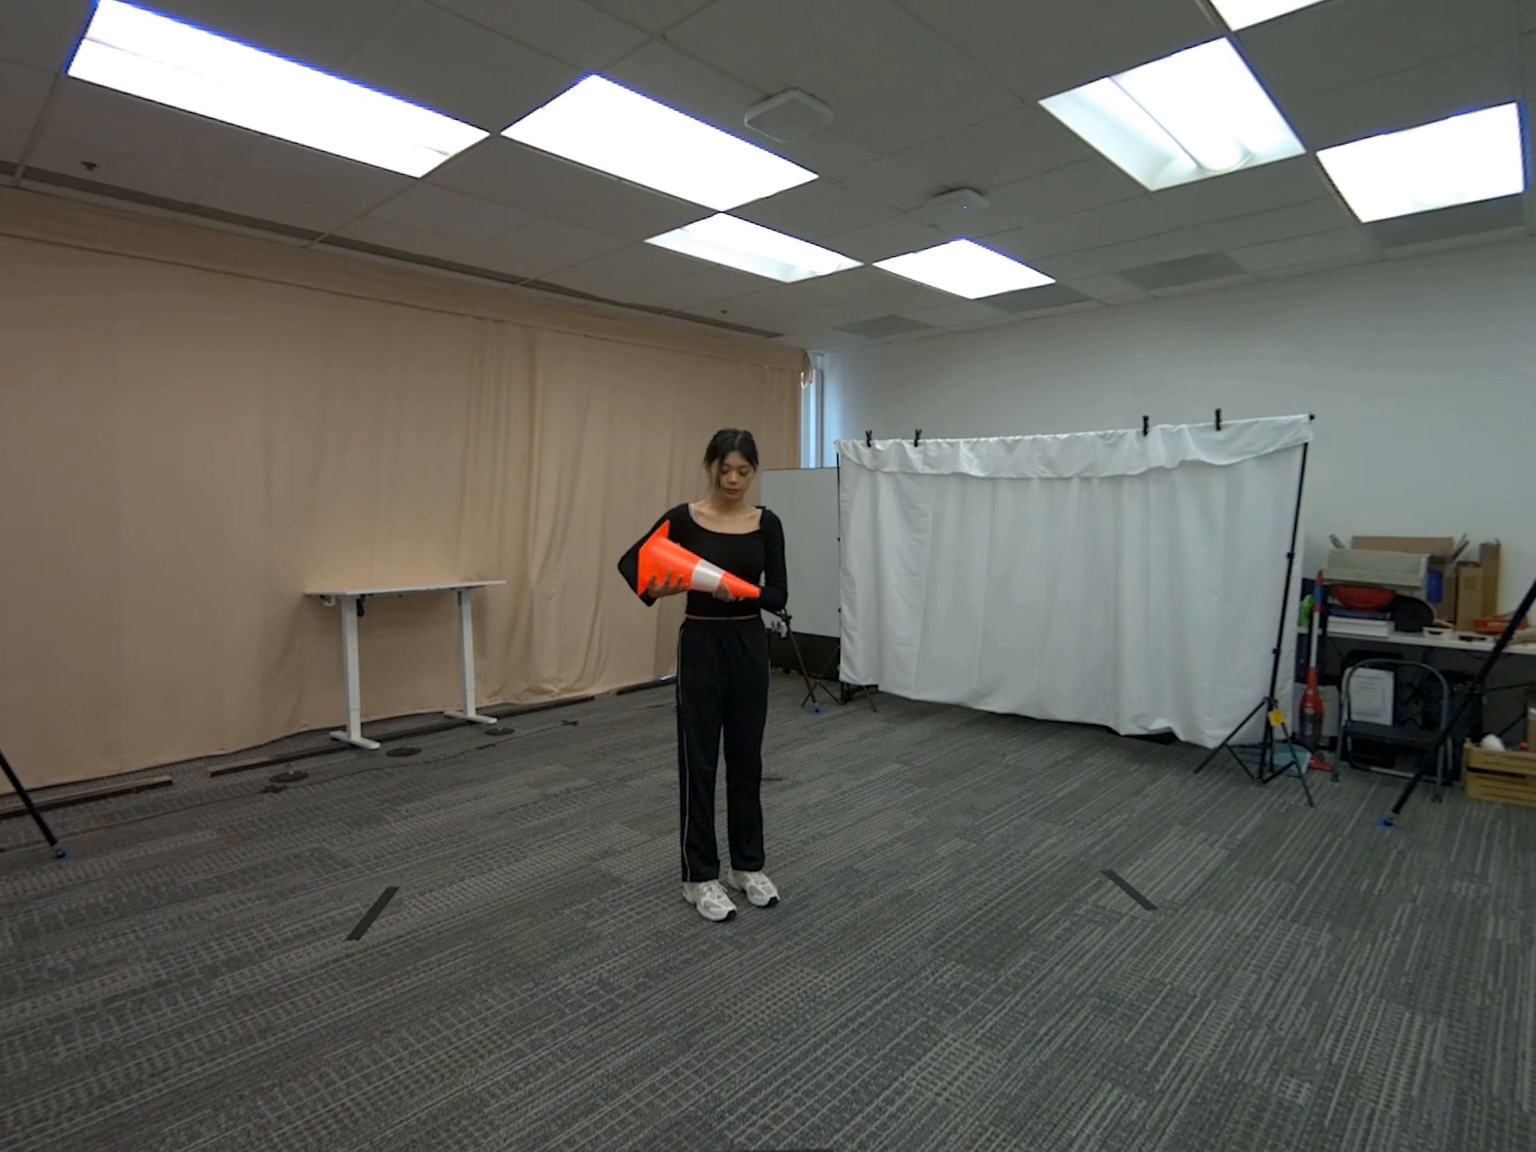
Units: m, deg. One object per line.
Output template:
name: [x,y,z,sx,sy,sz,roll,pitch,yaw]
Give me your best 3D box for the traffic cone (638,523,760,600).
traffic cone: [-0.198,-0.004,2.736,0.391,0.200,0.204,17,39,14]
